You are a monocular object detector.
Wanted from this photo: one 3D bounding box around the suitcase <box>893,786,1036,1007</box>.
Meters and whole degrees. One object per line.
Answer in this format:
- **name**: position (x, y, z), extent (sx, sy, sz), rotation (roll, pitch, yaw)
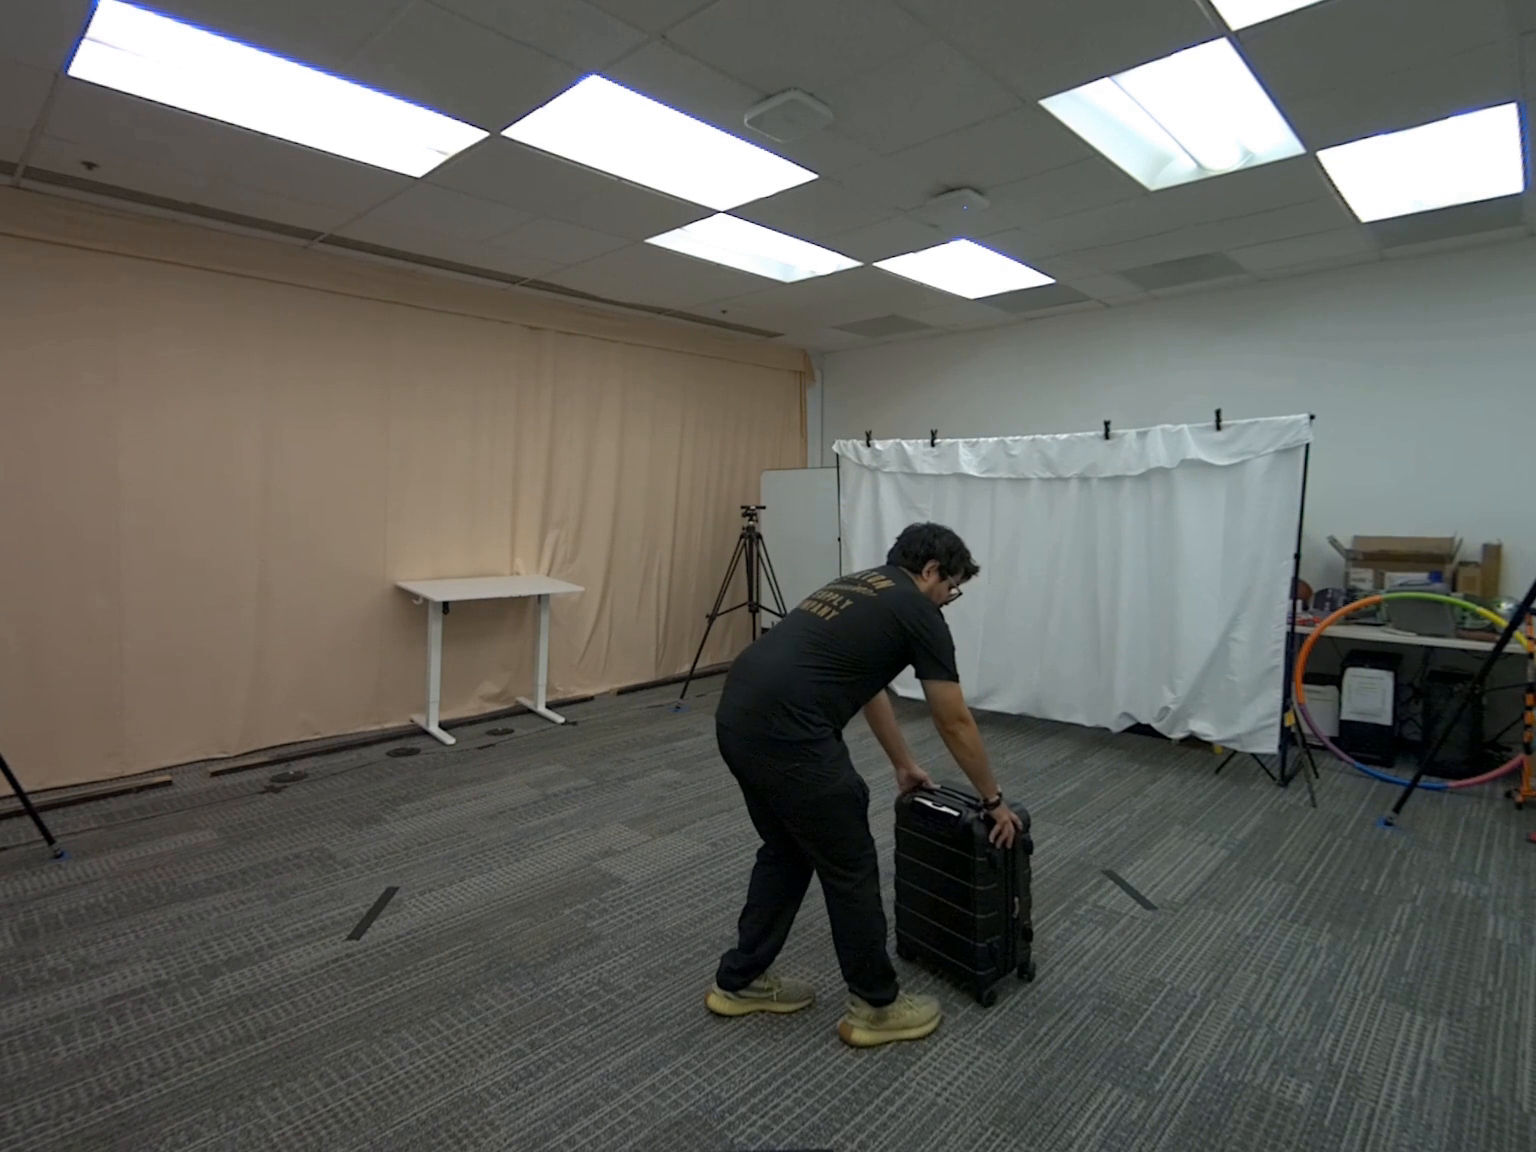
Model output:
- **suitcase**: position (0.581, 0.909, 2.506), extent (0.241, 0.547, 0.387), rotation (-5, 6, -36)
